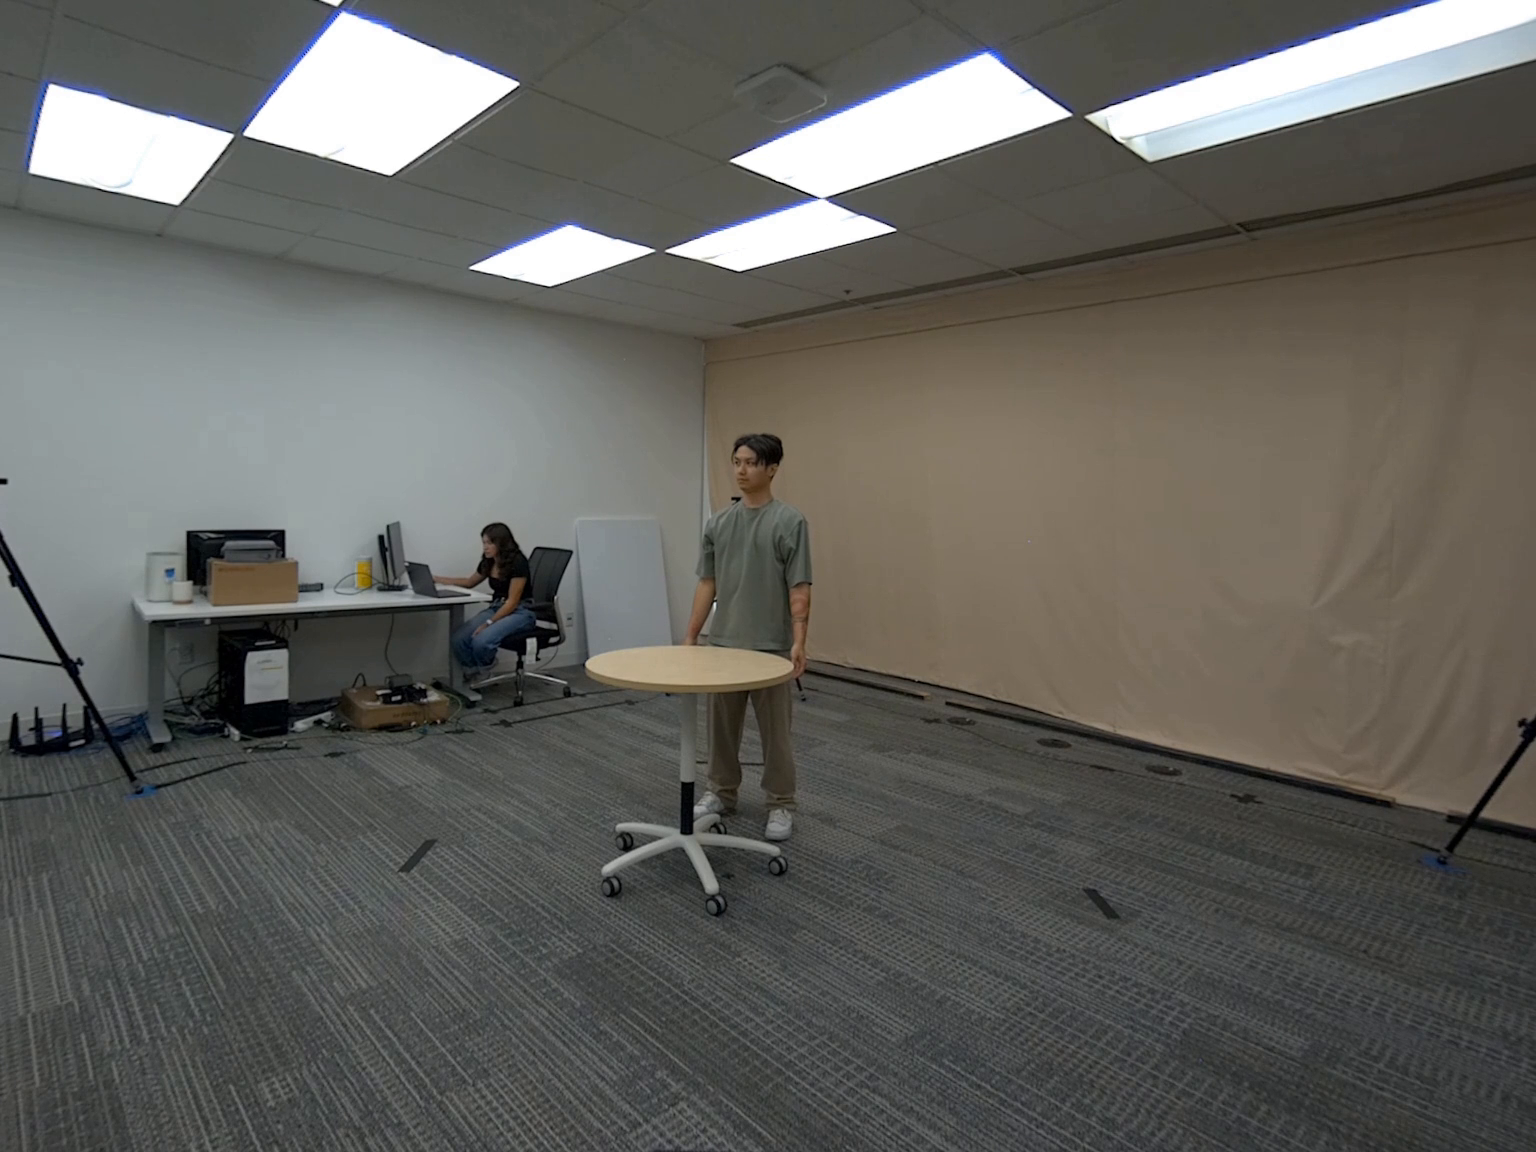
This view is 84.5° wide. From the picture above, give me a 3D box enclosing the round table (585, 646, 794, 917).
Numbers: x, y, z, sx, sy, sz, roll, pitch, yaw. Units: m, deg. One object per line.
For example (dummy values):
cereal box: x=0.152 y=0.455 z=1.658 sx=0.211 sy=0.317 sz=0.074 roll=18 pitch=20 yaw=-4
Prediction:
round table: x=-0.291 y=0.713 z=3.118 sx=0.784 sy=0.785 sz=0.787 roll=1 pitch=4 yaw=-1
